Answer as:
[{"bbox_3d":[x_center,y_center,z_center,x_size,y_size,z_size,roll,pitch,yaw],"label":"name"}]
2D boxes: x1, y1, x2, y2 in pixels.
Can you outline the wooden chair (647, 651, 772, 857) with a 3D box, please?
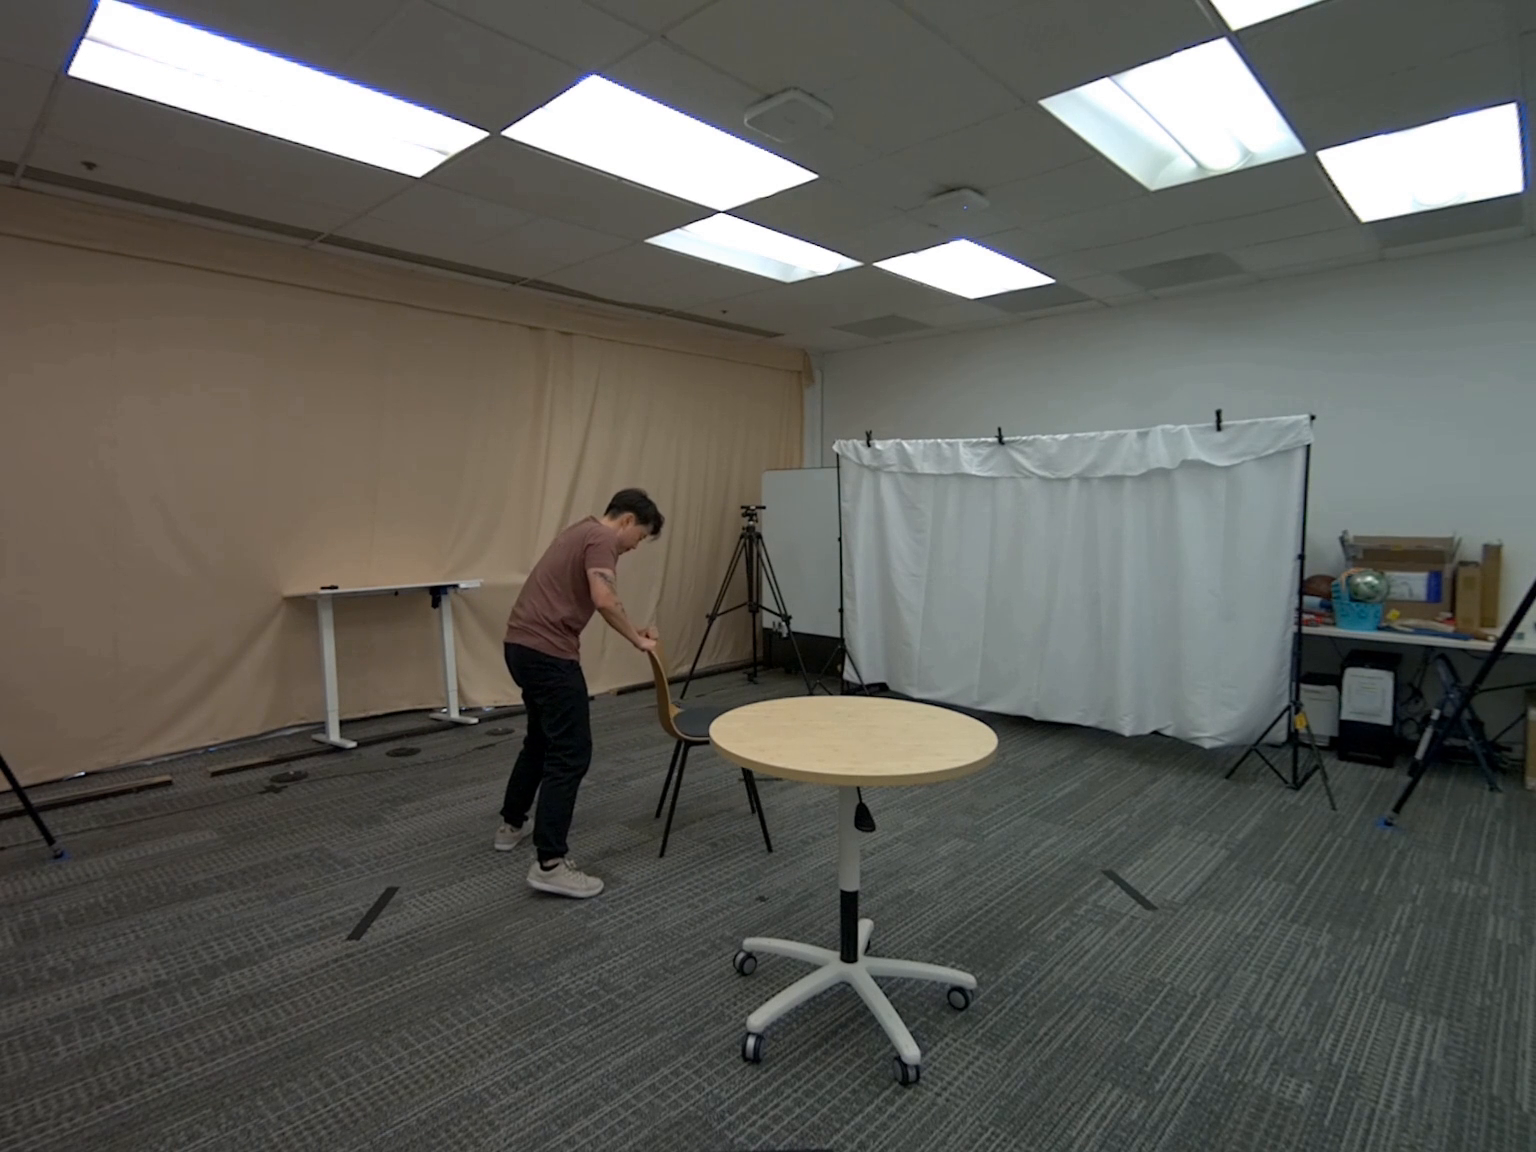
[{"bbox_3d":[-0.238,0.674,3.548,0.519,0.876,0.483,-5,3,-8],"label":"wooden chair"}]
